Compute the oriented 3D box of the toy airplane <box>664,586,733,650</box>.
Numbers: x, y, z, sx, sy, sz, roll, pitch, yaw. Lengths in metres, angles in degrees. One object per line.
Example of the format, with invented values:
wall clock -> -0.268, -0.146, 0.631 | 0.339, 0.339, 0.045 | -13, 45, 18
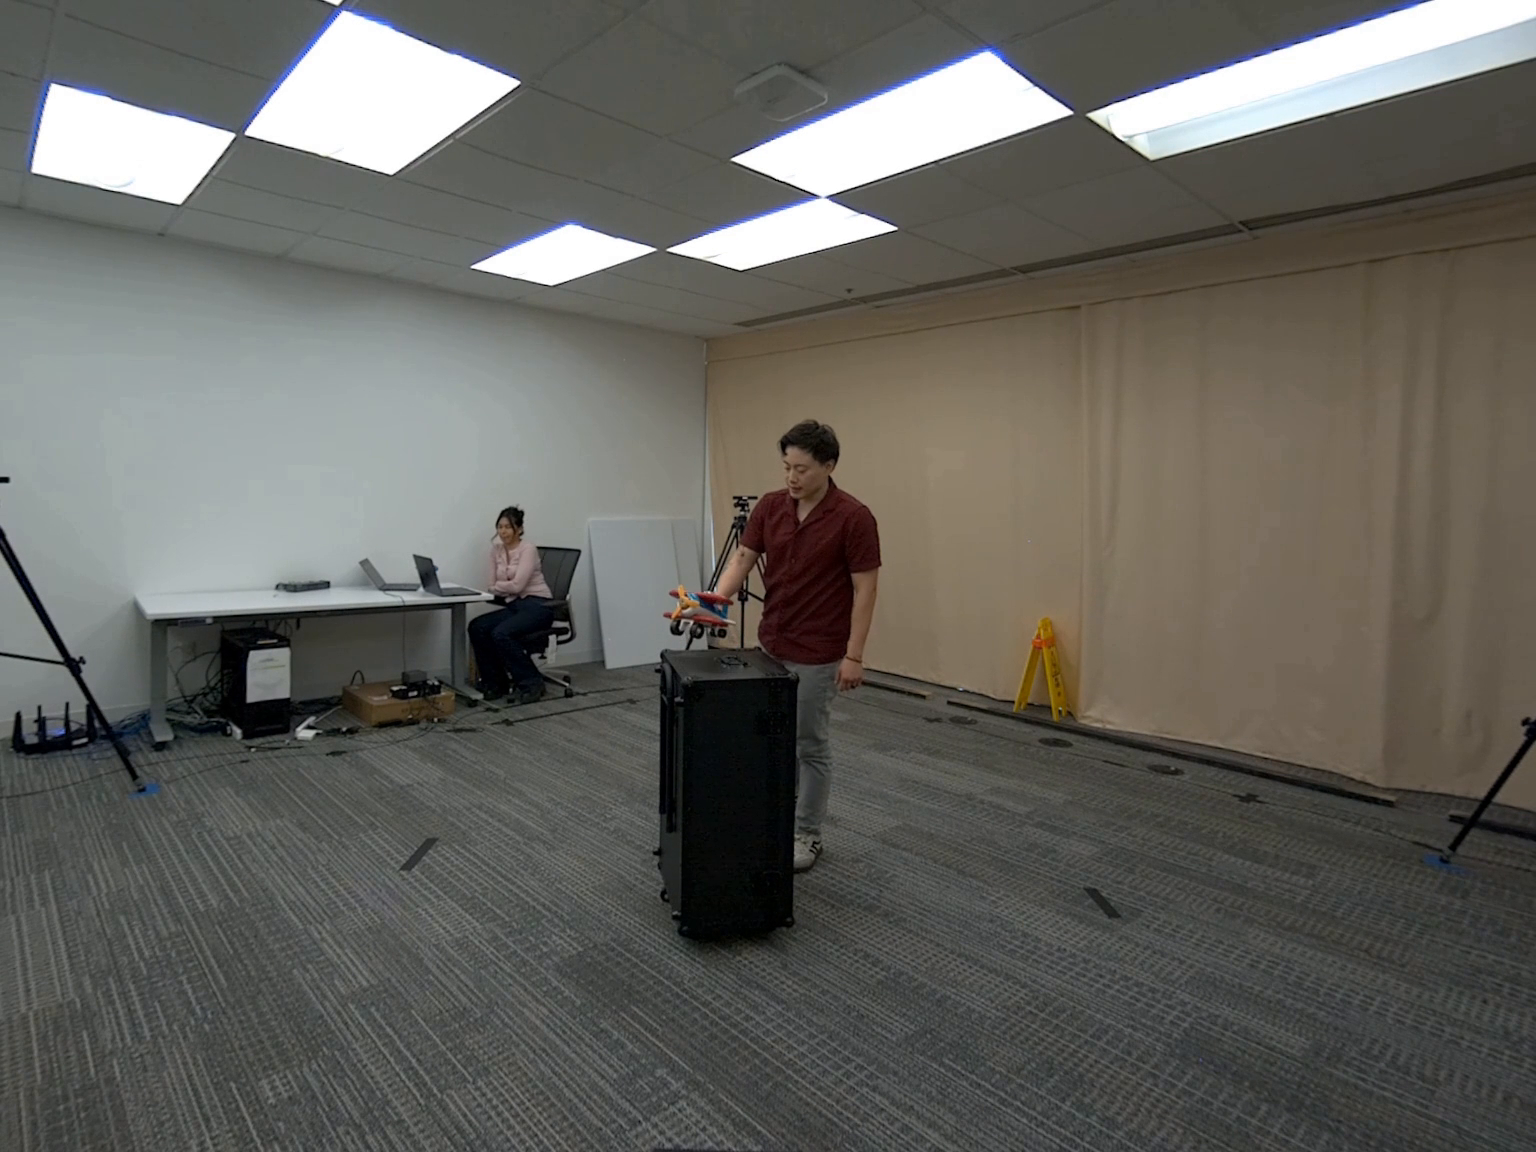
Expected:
toy airplane -> -0.240, 0.134, 2.912 | 0.253, 0.156, 0.257 | 6, -1, 9
